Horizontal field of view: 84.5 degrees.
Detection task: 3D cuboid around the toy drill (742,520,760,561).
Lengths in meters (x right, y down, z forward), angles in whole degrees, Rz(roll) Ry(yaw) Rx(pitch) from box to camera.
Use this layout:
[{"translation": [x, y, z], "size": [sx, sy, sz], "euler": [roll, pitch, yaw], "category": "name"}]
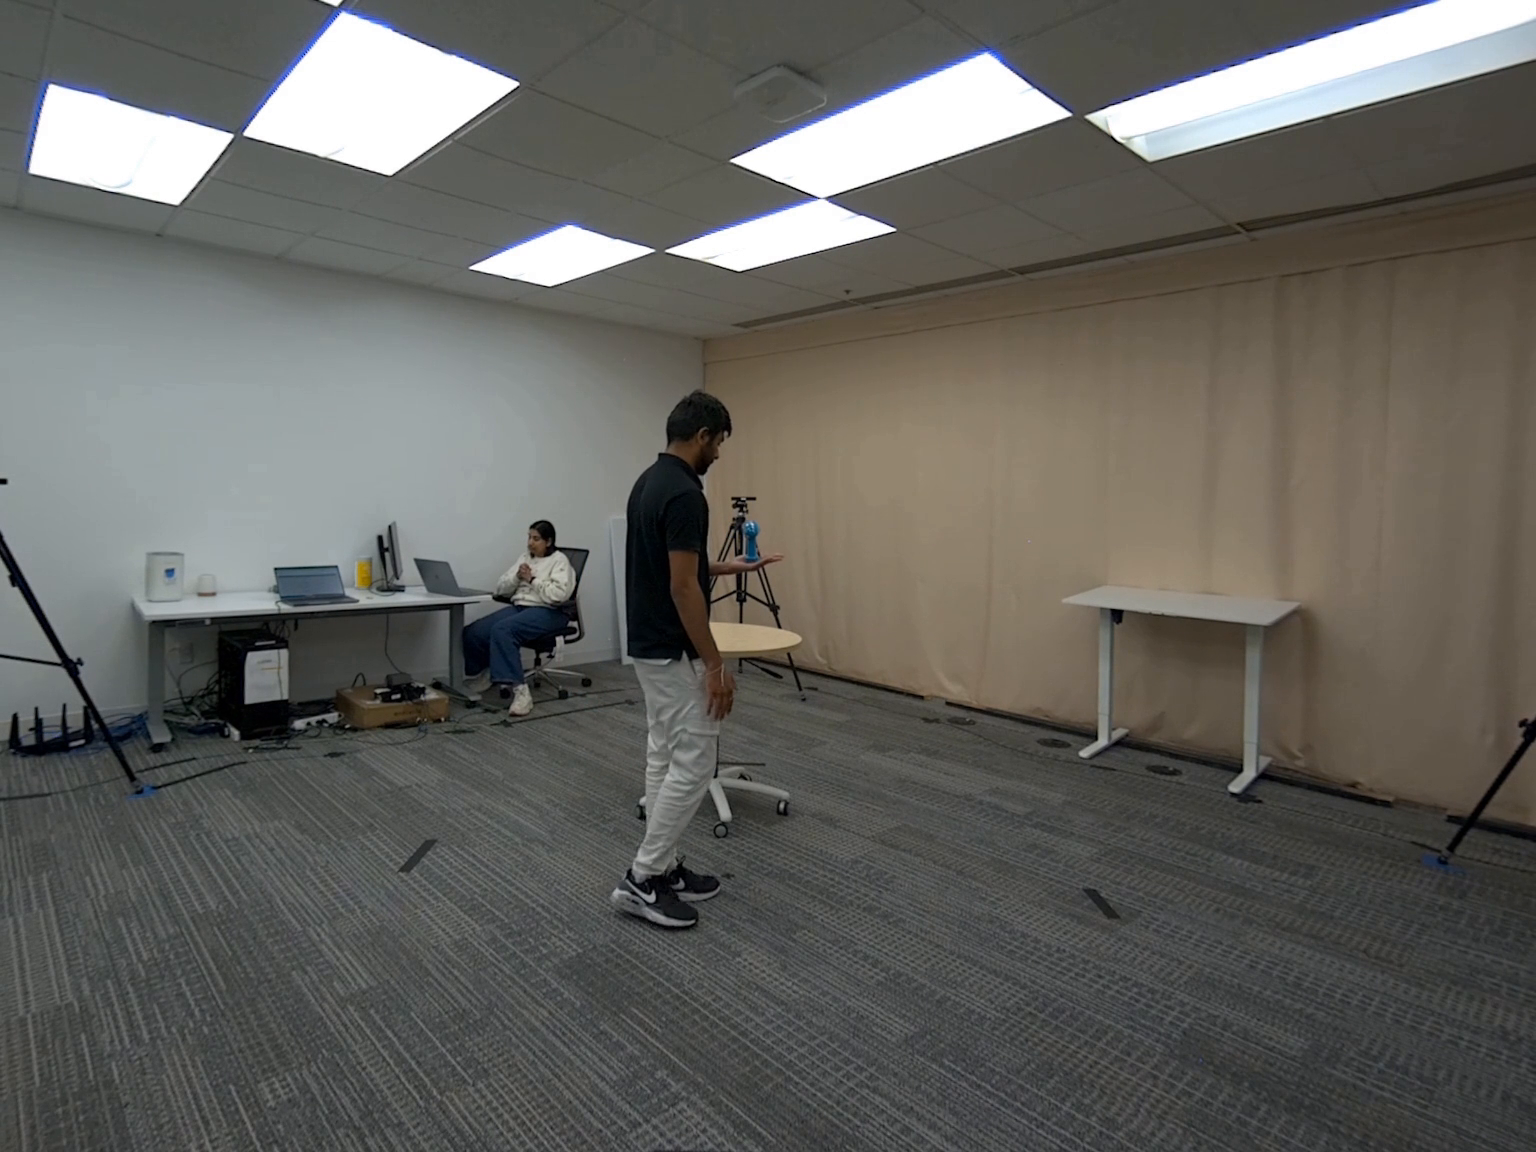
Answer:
[{"translation": [-0.070, -0.145, 3.018], "size": [0.061, 0.143, 0.174], "euler": [-5, 27, -9], "category": "toy drill"}]
